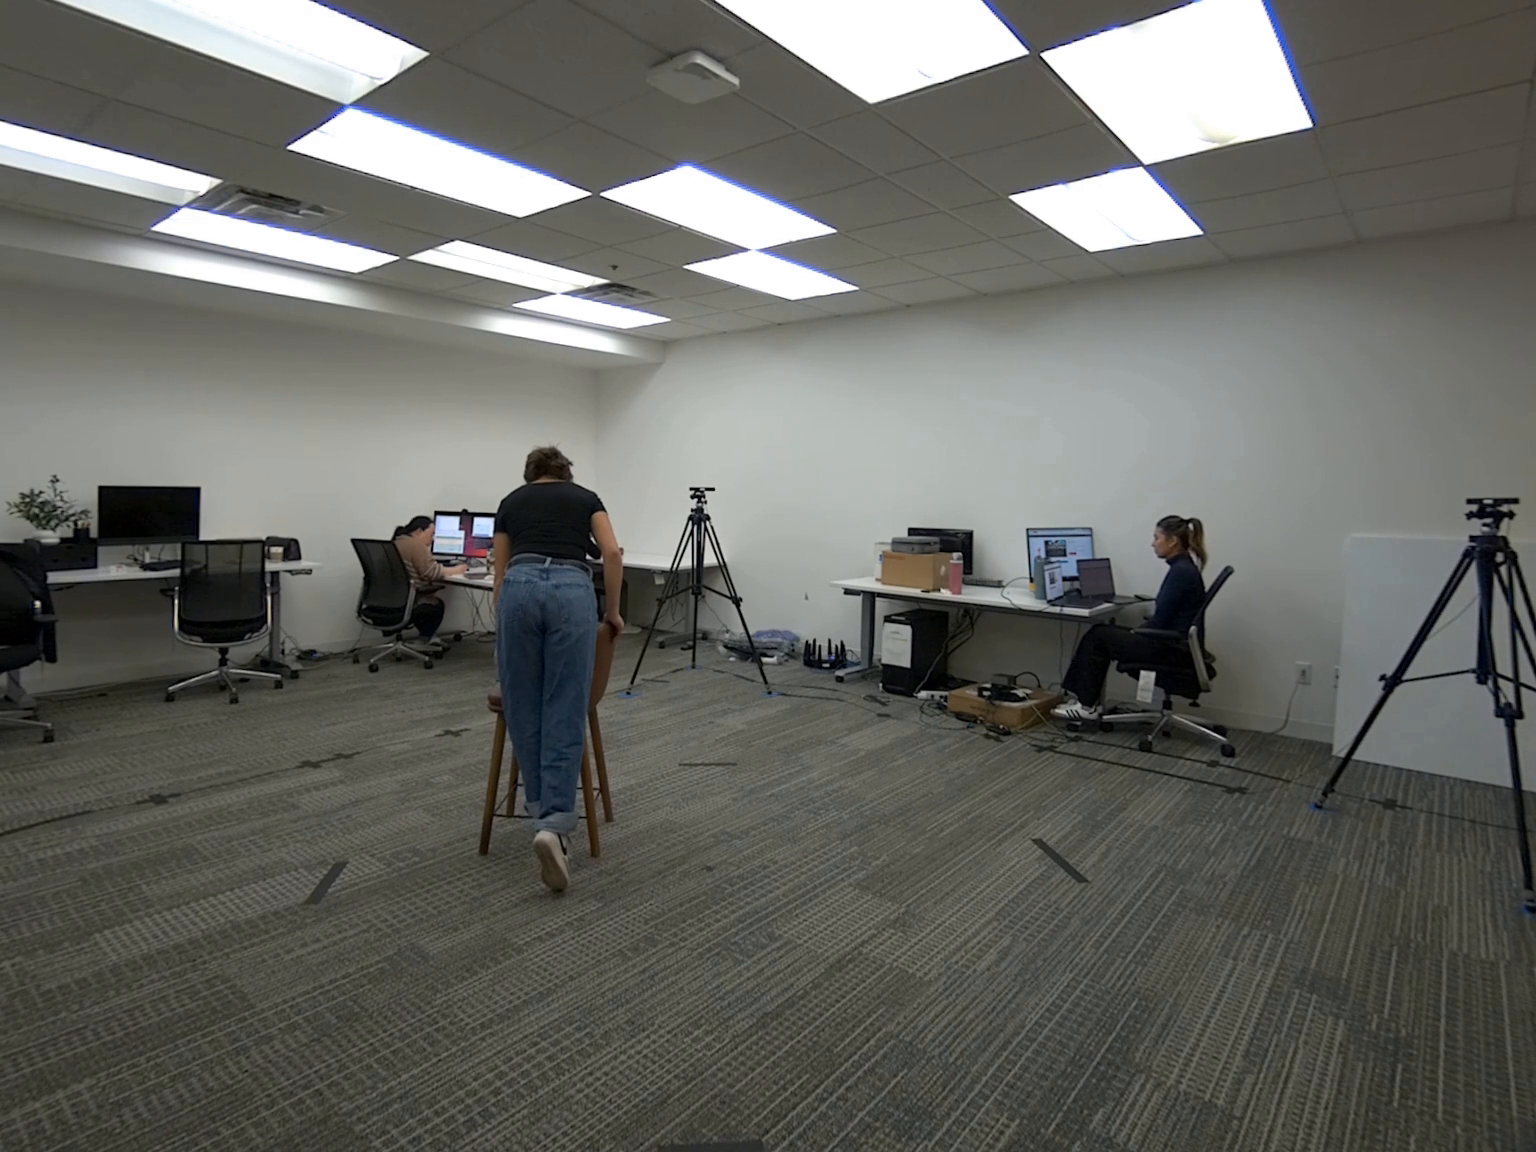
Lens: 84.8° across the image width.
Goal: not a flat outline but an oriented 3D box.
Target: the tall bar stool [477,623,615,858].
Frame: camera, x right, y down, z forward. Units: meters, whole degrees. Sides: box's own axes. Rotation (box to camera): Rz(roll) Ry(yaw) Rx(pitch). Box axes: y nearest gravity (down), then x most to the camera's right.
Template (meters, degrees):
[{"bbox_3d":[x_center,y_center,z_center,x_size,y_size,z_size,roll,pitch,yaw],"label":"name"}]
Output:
[{"bbox_3d":[-0.864,0.596,3.362,0.468,0.888,0.457,3,3,1],"label":"tall bar stool"}]
